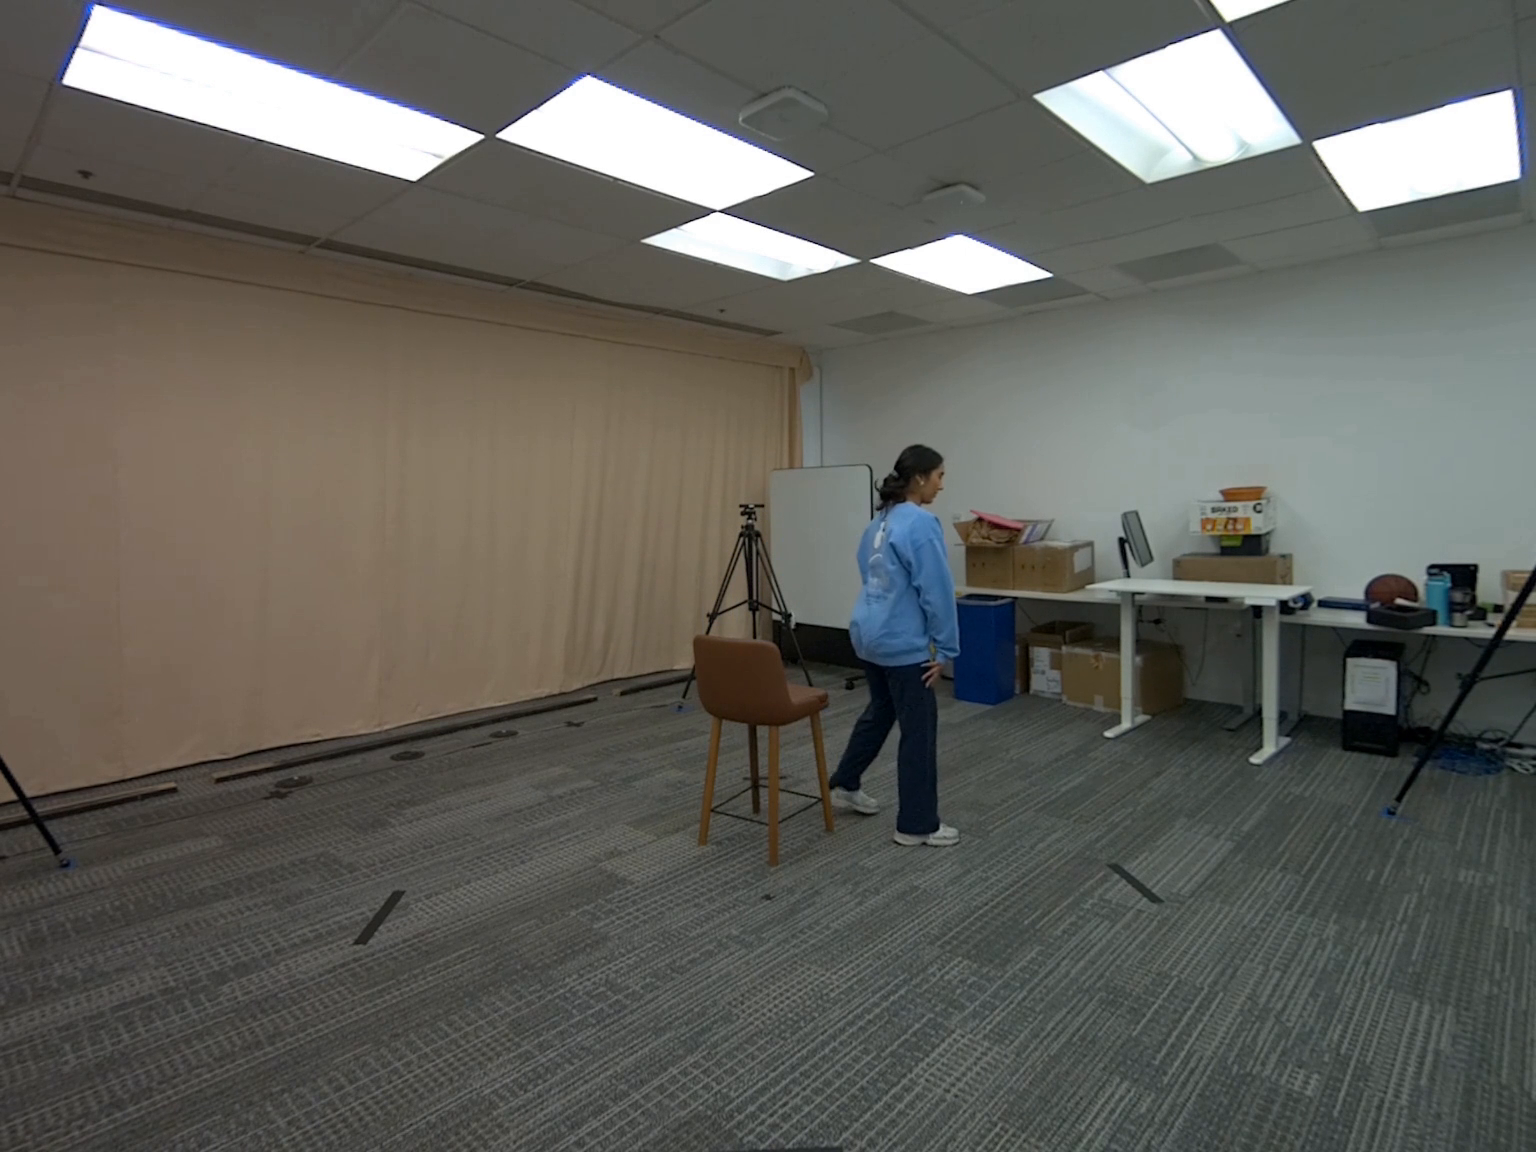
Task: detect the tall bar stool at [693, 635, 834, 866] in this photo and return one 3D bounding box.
[{"bbox_3d":[-0.016,0.661,3.504,0.471,0.887,0.454,1,5,35],"label":"tall bar stool"}]
